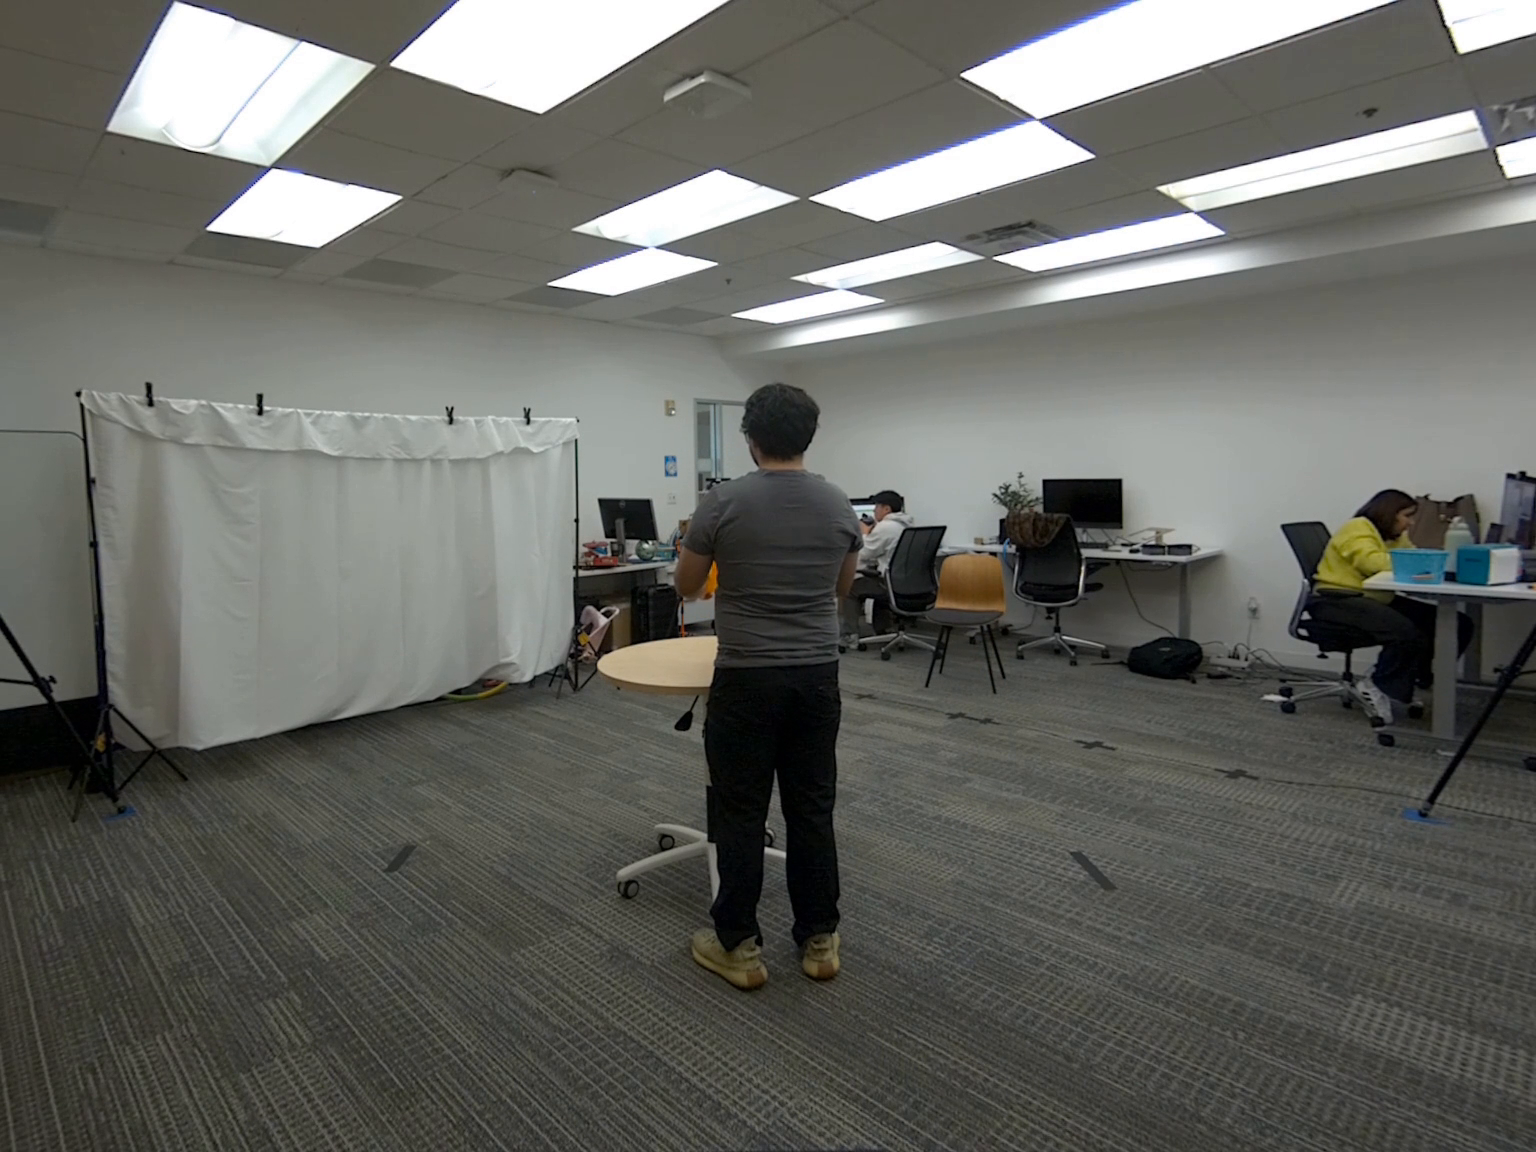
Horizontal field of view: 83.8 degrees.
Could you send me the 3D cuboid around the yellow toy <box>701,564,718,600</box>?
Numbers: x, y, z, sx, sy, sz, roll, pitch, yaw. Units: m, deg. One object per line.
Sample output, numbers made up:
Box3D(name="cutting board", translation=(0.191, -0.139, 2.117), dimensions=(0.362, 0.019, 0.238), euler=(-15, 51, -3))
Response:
Box3D(name="yellow toy", translation=(-0.126, -0.050, 2.810), dimensions=(0.201, 0.190, 0.238), euler=(-8, 19, -22))
